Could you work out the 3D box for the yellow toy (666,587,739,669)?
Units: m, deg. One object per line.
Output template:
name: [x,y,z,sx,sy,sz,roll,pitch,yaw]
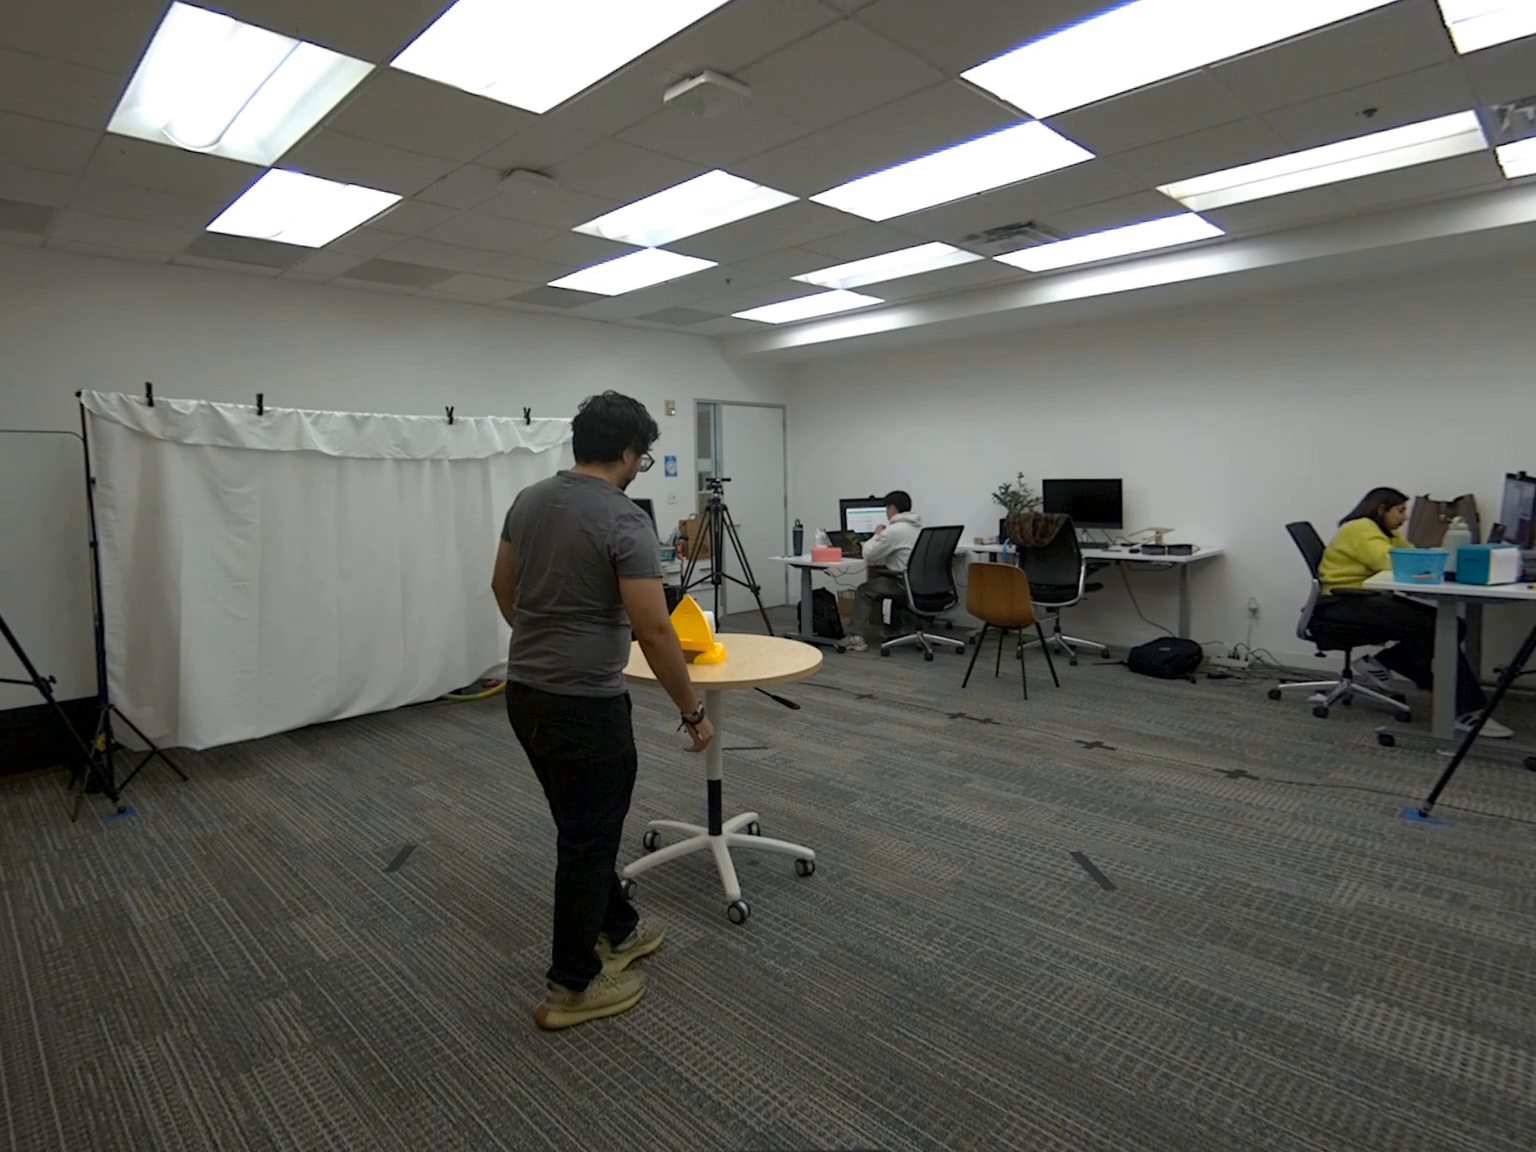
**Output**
yellow toy: [-0.235,0.171,2.912,0.209,0.230,0.190,2,6,22]
